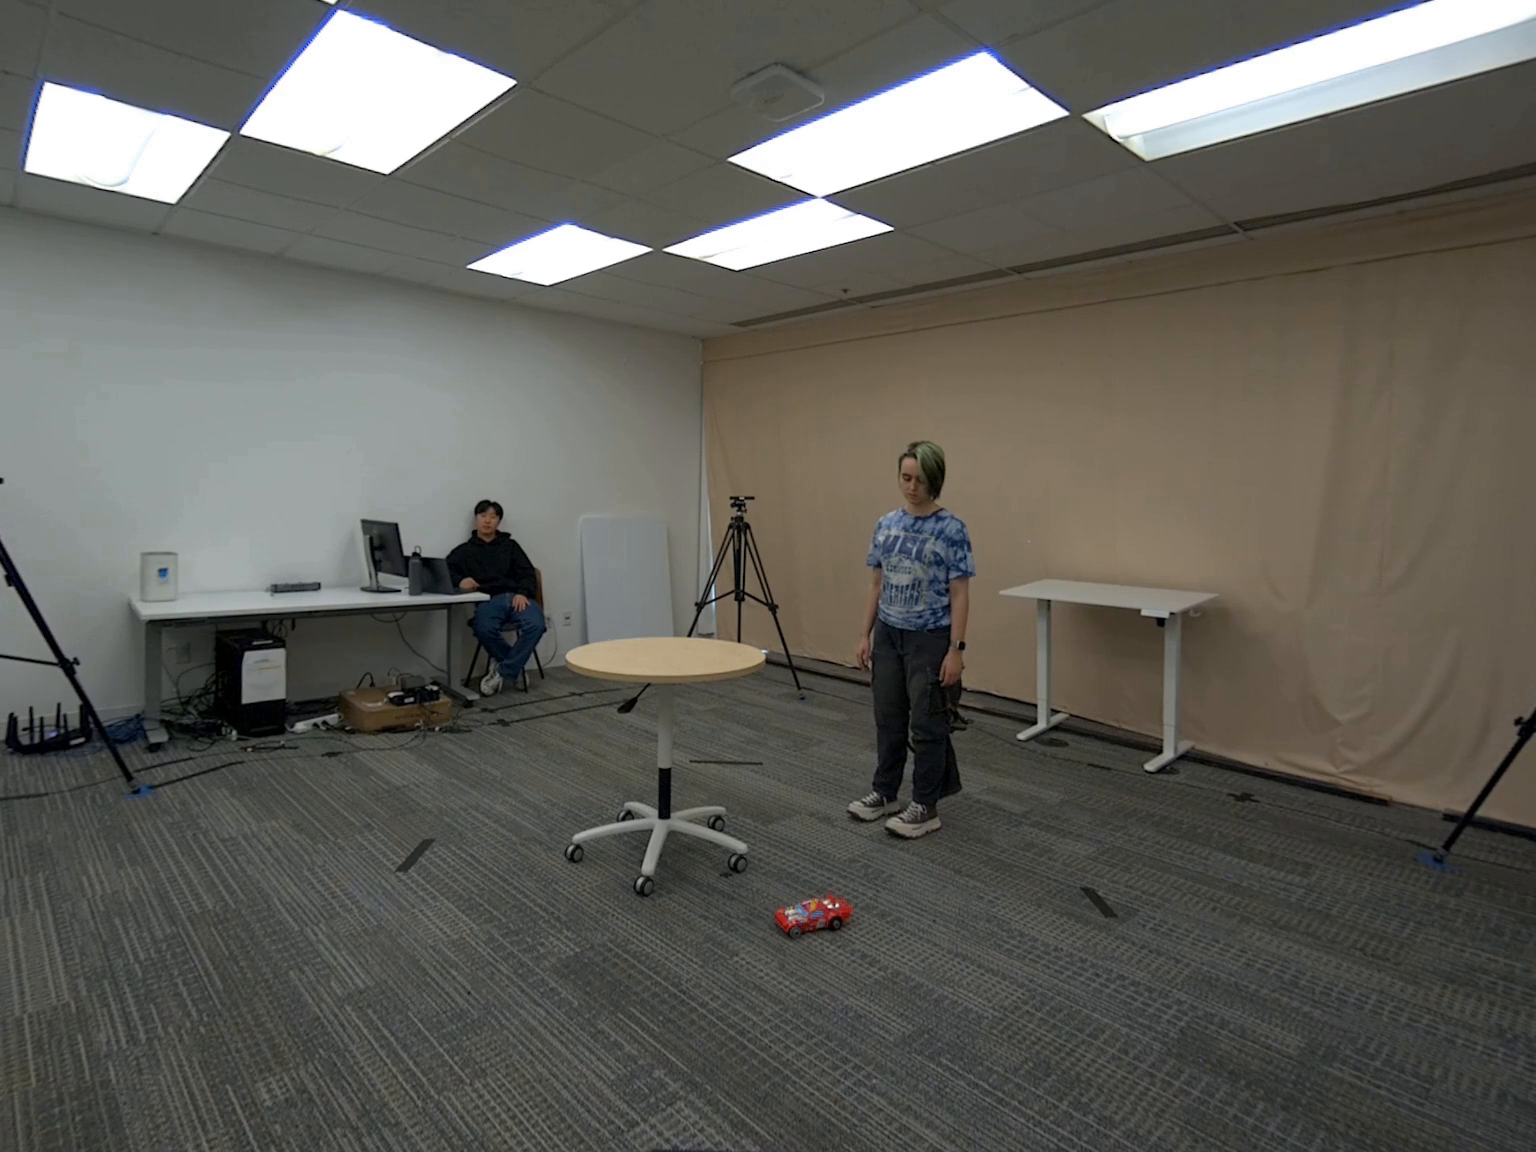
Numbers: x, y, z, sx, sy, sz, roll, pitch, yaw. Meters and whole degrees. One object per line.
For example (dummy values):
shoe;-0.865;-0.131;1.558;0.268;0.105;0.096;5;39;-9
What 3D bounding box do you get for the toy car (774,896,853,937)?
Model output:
toy car;0.150;1.108;2.744;0.251;0.082;0.133;-13;11;-21
